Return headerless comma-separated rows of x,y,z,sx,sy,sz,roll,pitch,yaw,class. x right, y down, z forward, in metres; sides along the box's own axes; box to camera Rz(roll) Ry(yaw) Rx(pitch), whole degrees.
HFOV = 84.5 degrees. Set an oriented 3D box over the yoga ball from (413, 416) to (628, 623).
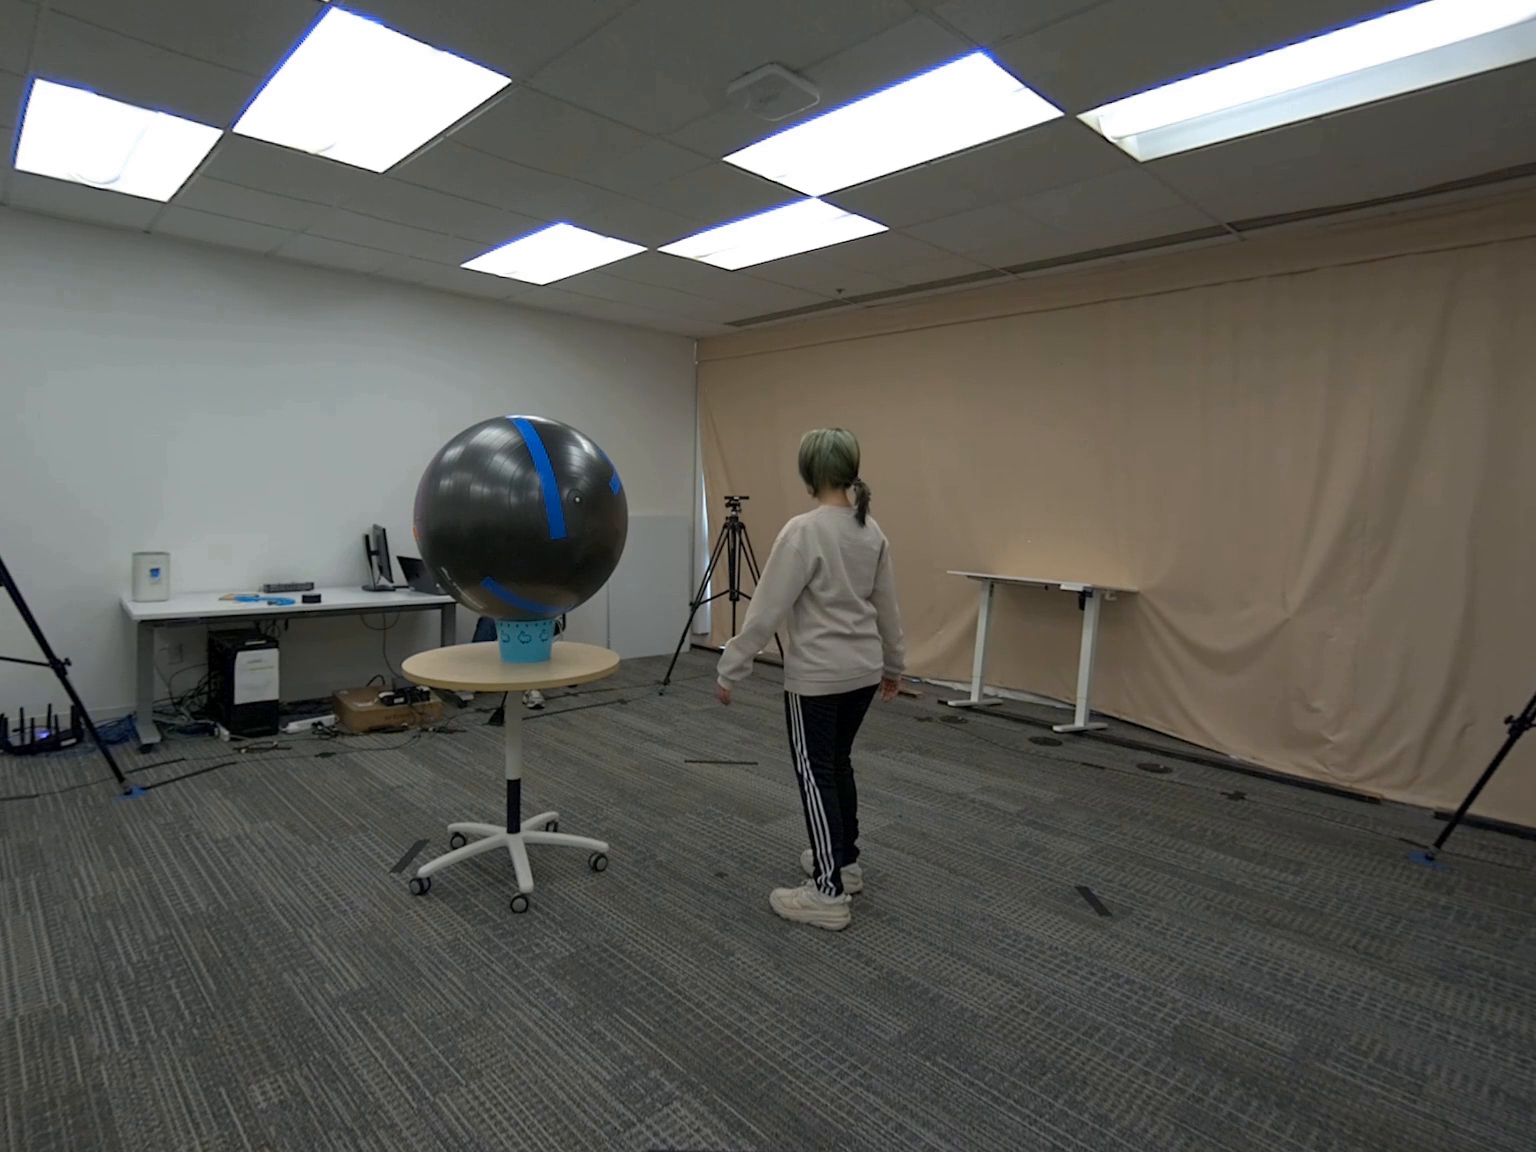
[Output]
-0.901,-0.203,3.083,0.757,0.756,0.761,1,4,-1,yoga ball
